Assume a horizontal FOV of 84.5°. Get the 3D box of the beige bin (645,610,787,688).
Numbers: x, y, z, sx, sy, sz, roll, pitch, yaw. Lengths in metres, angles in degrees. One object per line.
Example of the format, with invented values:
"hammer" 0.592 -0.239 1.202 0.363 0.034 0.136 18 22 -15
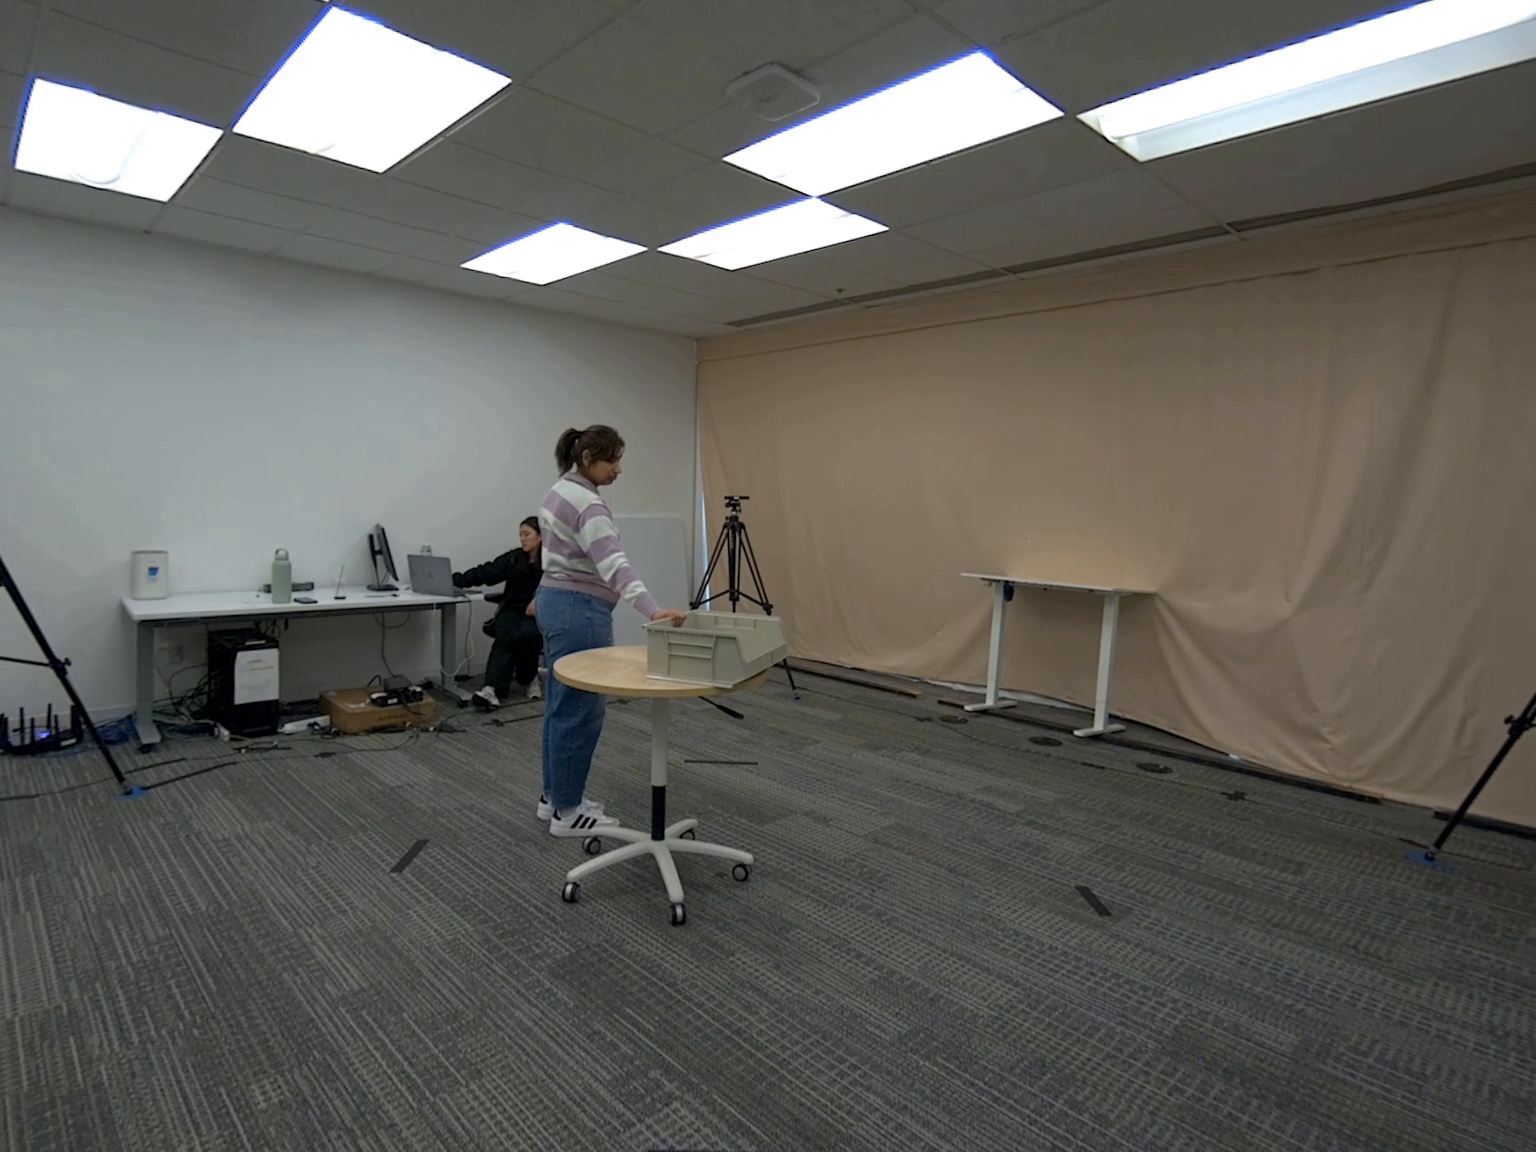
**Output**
"beige bin" -0.181 0.250 2.927 0.383 0.188 0.417 2 6 19
